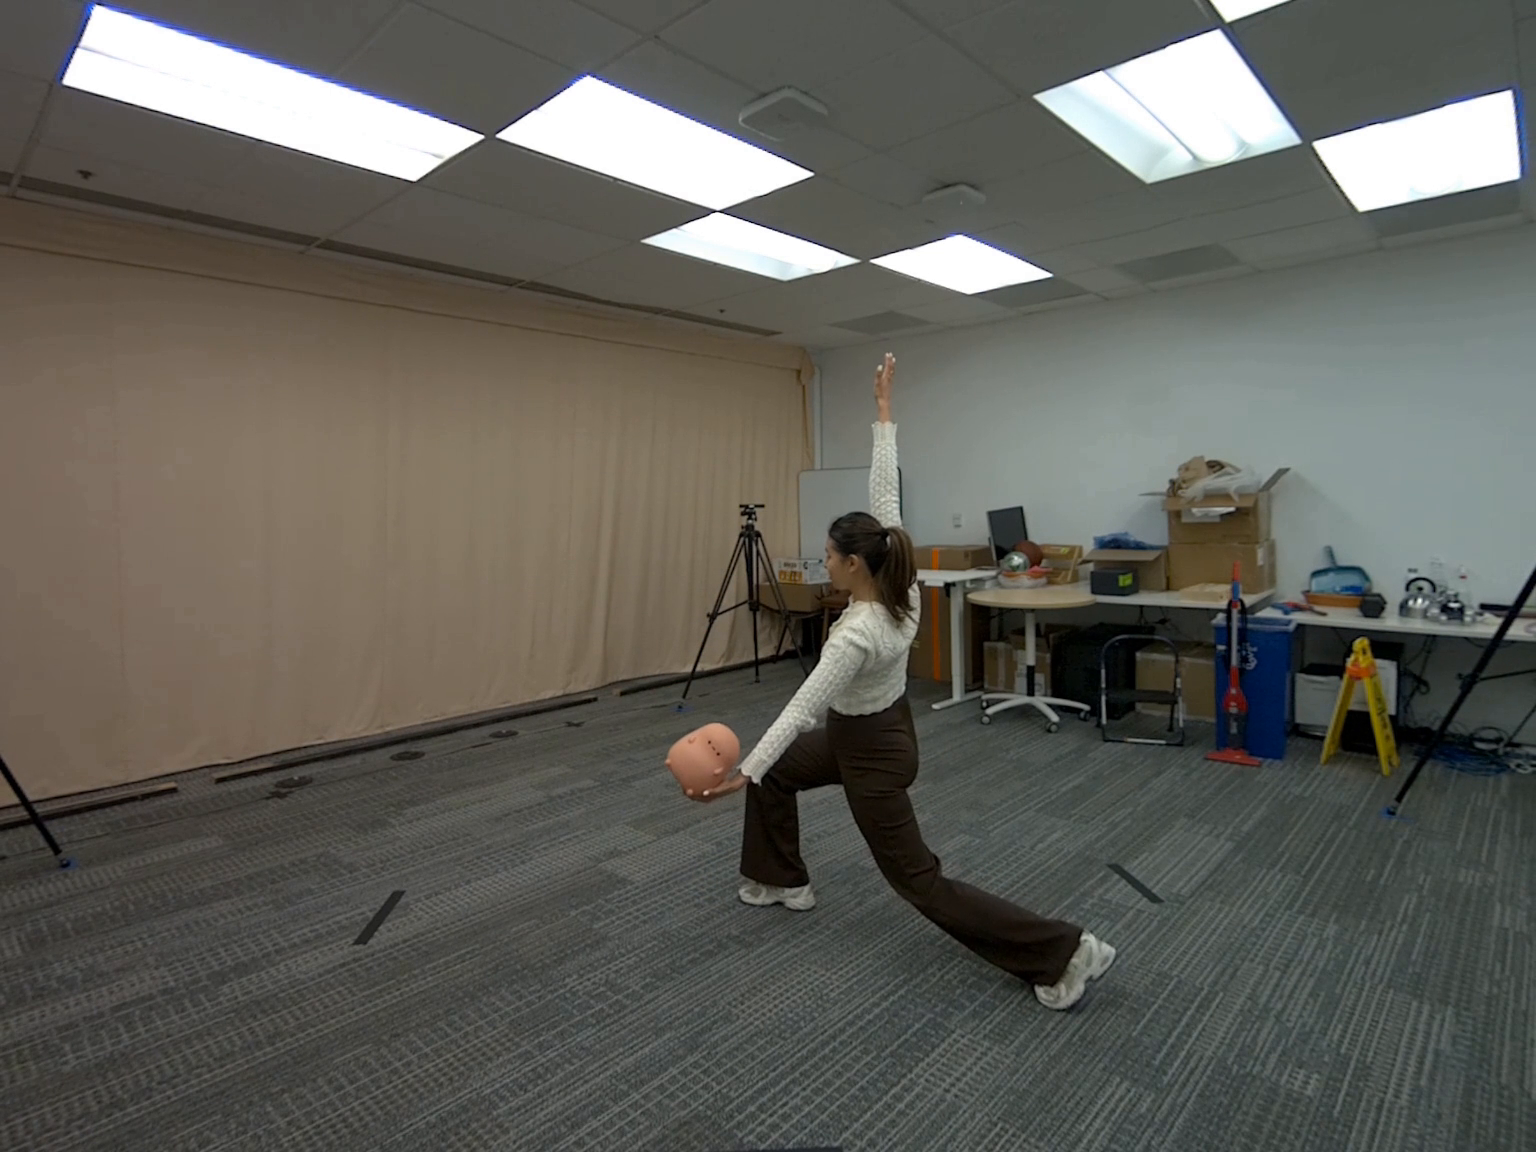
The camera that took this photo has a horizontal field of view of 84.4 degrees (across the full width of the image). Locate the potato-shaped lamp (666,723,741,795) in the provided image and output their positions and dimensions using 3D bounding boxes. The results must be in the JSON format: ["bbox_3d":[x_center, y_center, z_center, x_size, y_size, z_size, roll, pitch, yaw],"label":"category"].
[{"bbox_3d":[-0.166,0.512,2.366,0.198,0.167,0.168,-40,-13,2],"label":"potato-shaped lamp"}]
